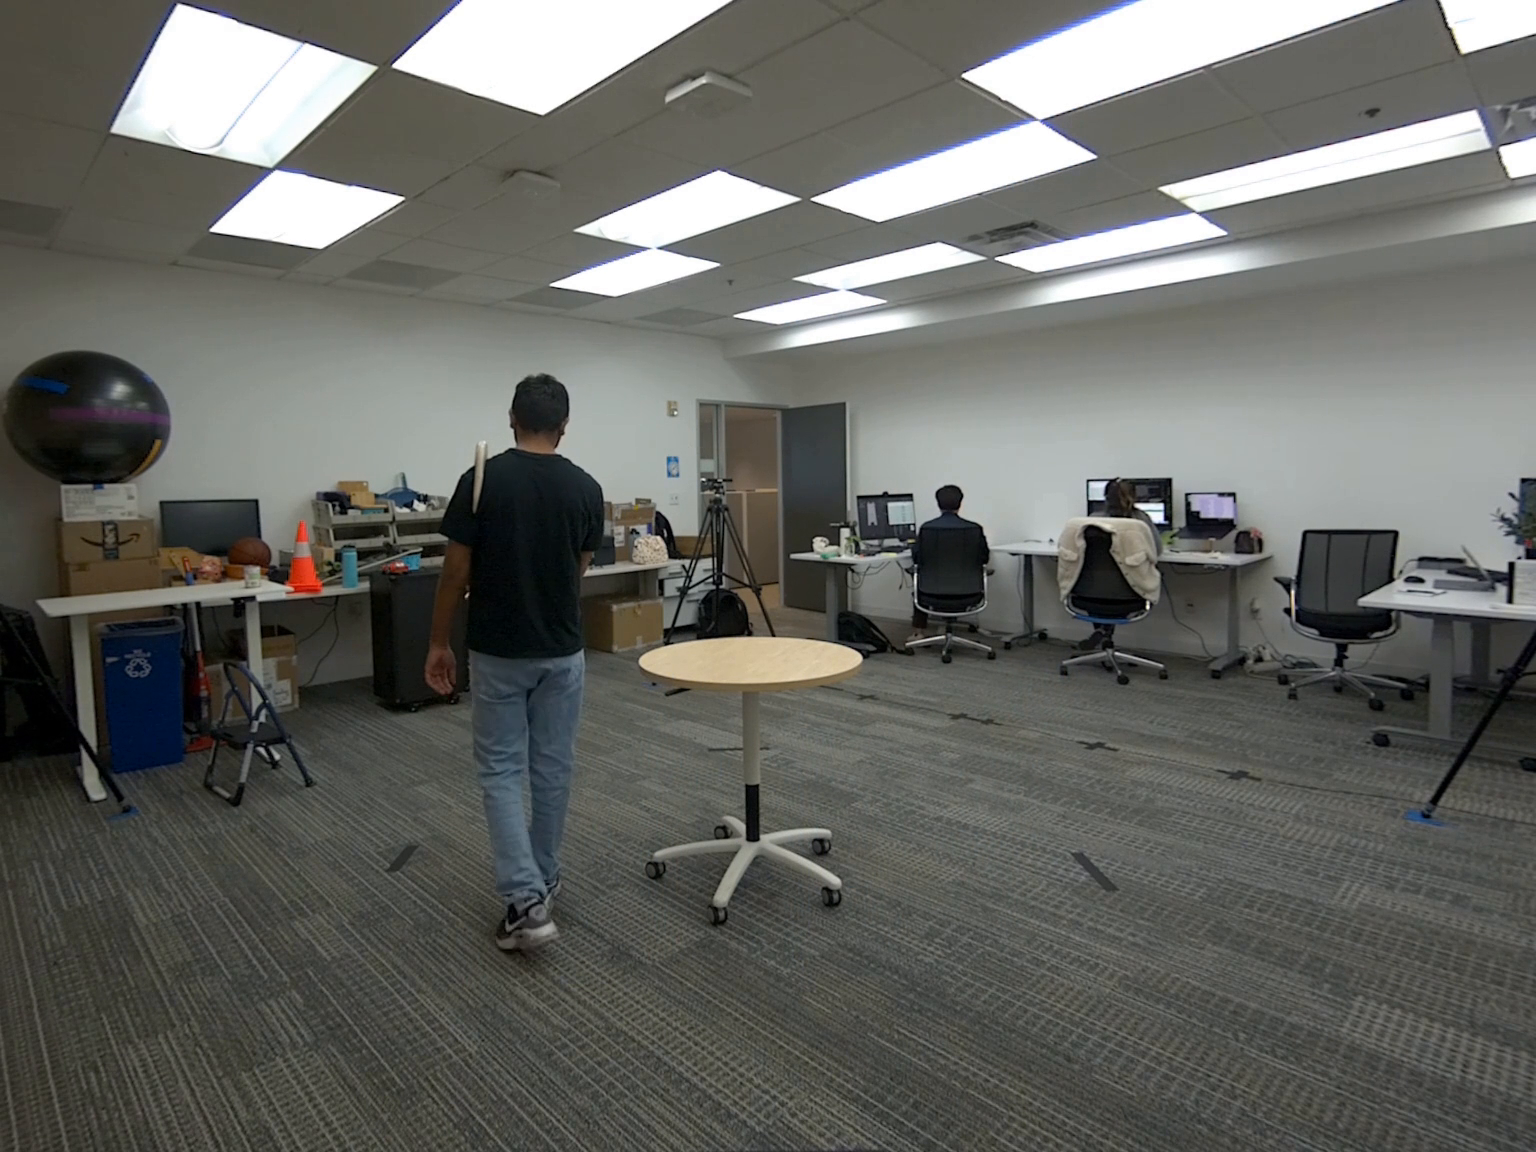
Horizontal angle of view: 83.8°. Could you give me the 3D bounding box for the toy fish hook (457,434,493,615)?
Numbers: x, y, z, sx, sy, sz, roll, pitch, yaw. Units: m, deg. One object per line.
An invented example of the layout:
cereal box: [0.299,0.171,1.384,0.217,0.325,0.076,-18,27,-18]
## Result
toy fish hook: [-0.902,-0.163,2.623,0.048,0.500,0.229,5,17,-10]
